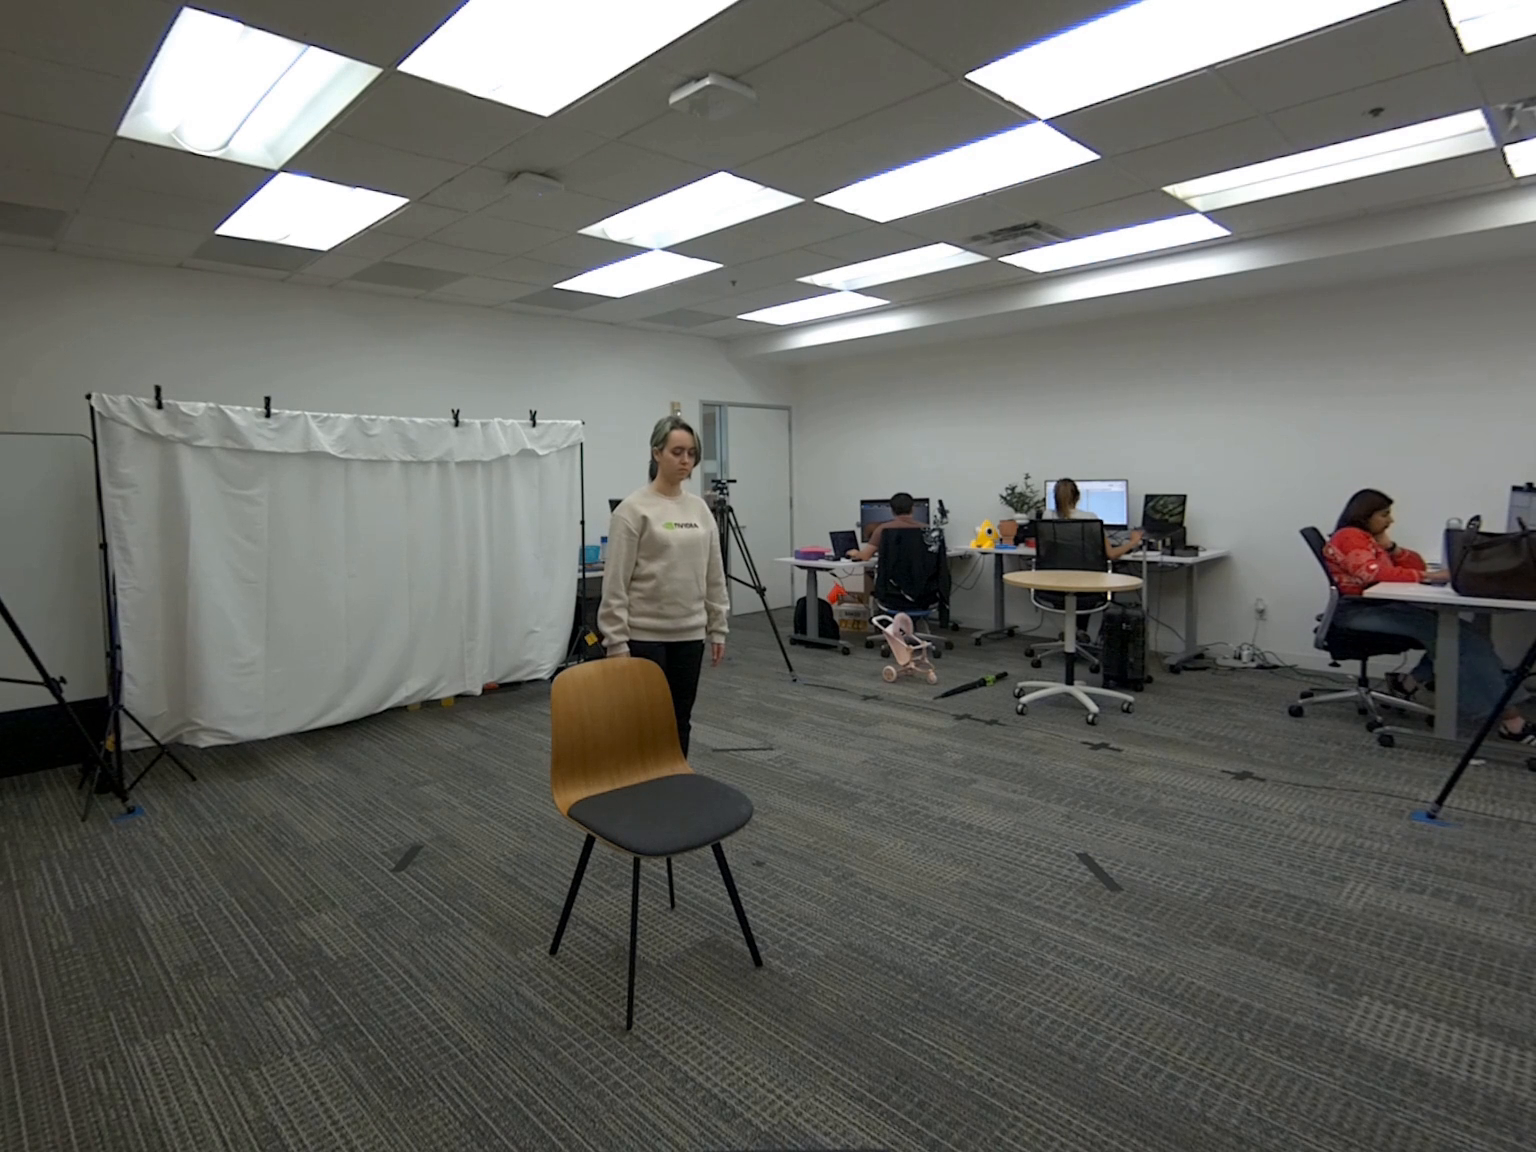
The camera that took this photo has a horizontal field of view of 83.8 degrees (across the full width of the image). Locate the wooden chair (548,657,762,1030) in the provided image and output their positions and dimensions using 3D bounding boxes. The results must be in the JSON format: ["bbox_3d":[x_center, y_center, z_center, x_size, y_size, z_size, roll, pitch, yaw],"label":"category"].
[{"bbox_3d":[-0.338,0.706,2.454,0.466,0.877,0.537,-5,2,-39],"label":"wooden chair"}]
